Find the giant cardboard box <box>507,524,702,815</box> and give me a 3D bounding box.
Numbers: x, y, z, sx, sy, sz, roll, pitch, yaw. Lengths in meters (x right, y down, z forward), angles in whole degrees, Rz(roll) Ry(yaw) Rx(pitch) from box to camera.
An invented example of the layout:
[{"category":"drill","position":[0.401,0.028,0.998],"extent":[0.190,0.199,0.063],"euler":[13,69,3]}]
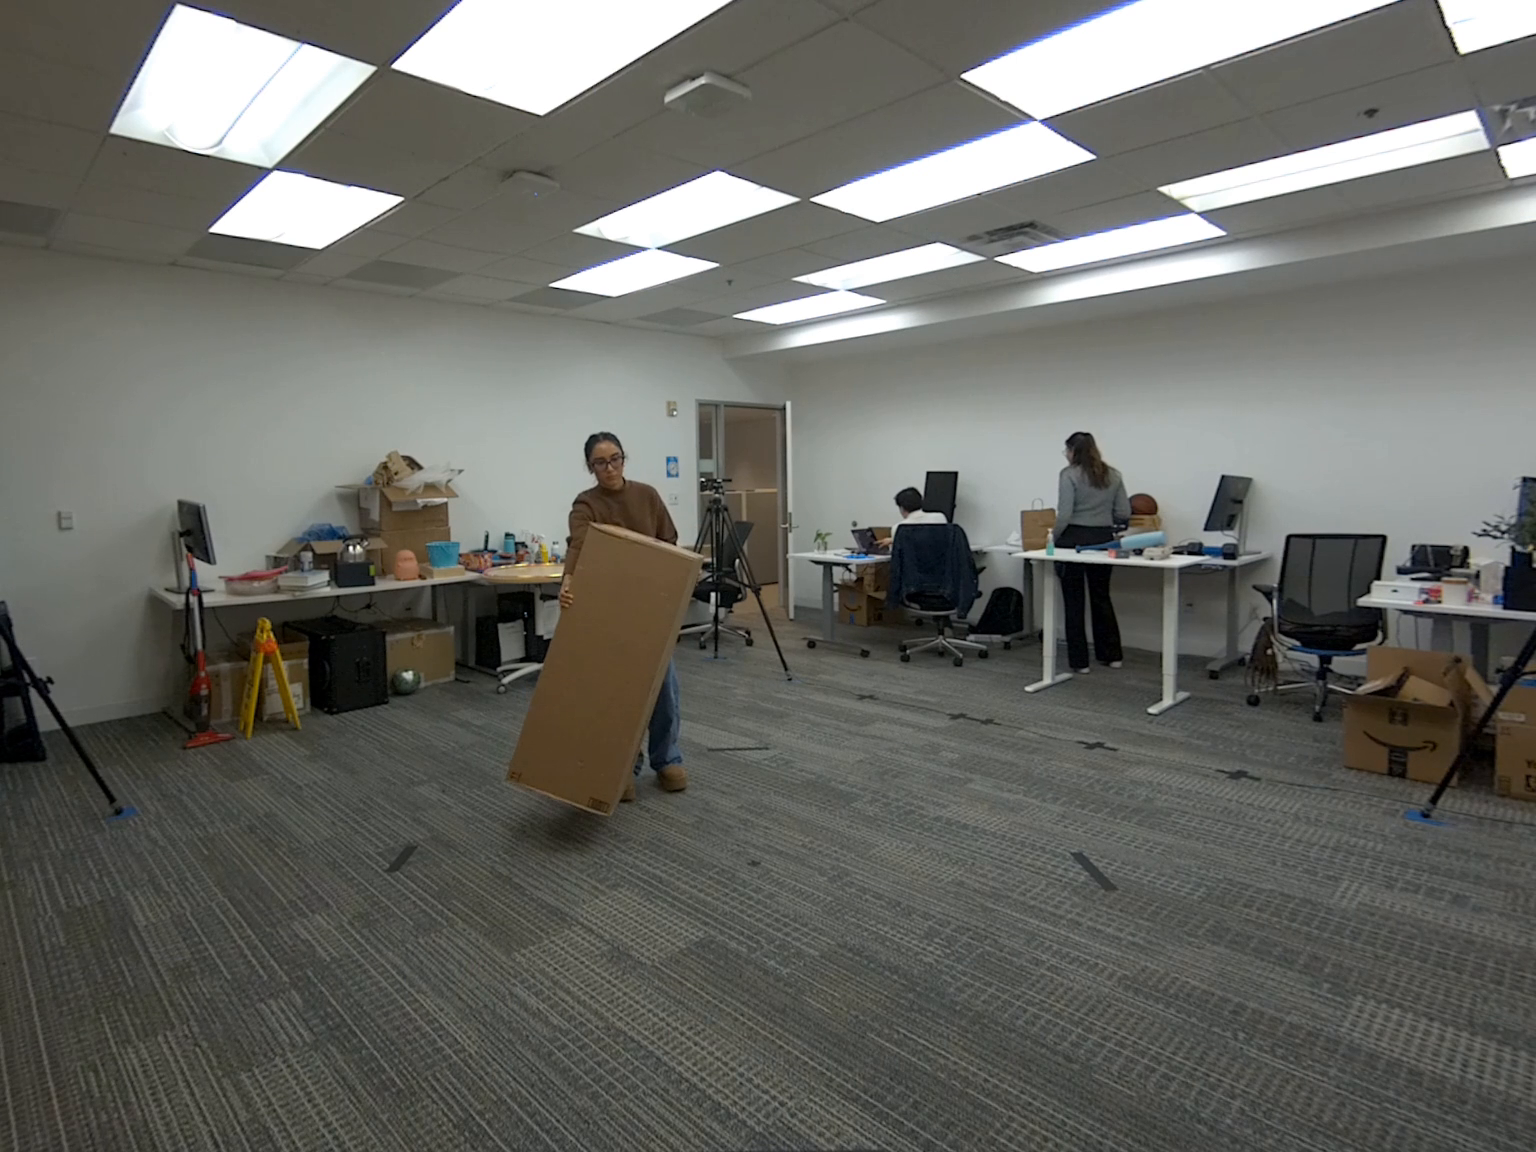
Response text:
[{"category":"giant cardboard box","position":[-0.640,0.343,3.477],"extent":[0.426,1.025,0.577],"euler":[19,1,-1]}]
